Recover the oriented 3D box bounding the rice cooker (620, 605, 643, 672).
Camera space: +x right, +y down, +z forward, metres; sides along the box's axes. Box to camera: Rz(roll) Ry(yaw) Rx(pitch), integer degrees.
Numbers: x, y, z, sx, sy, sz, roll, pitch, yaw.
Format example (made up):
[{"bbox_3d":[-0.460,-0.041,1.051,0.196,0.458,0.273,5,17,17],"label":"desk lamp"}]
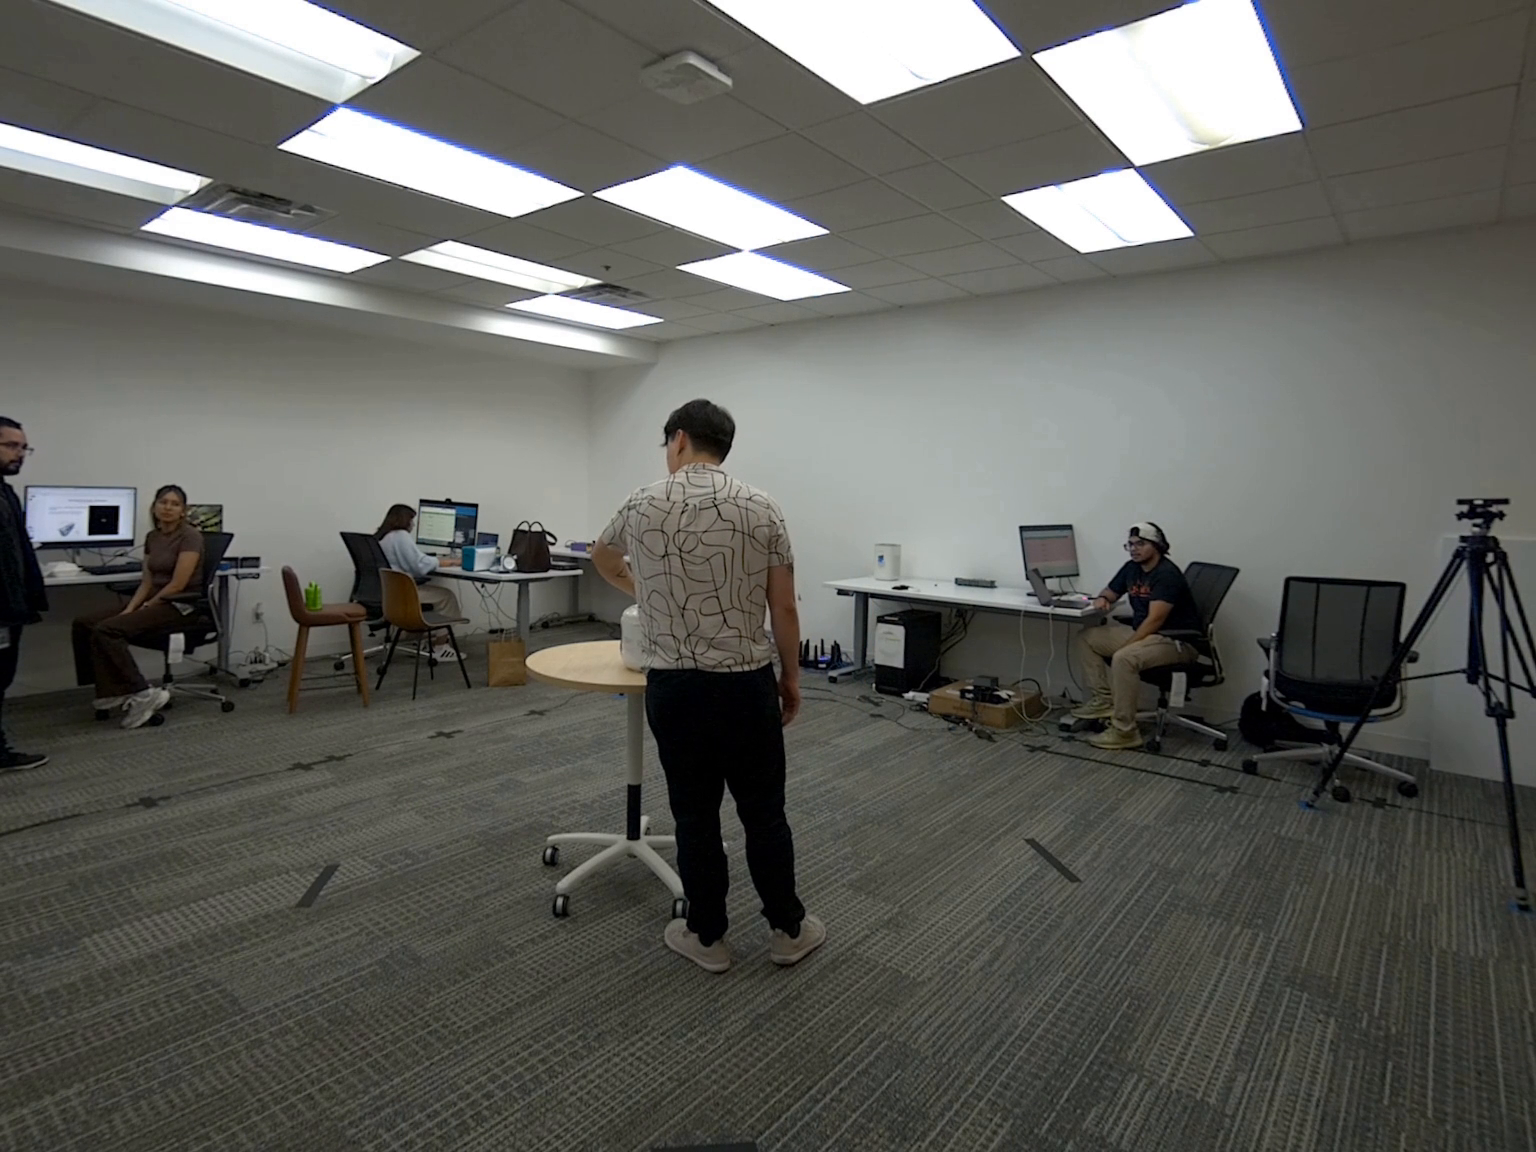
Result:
[{"bbox_3d":[-0.396,0.193,2.872,0.214,0.231,0.225,-1,6,-14],"label":"rice cooker"}]
